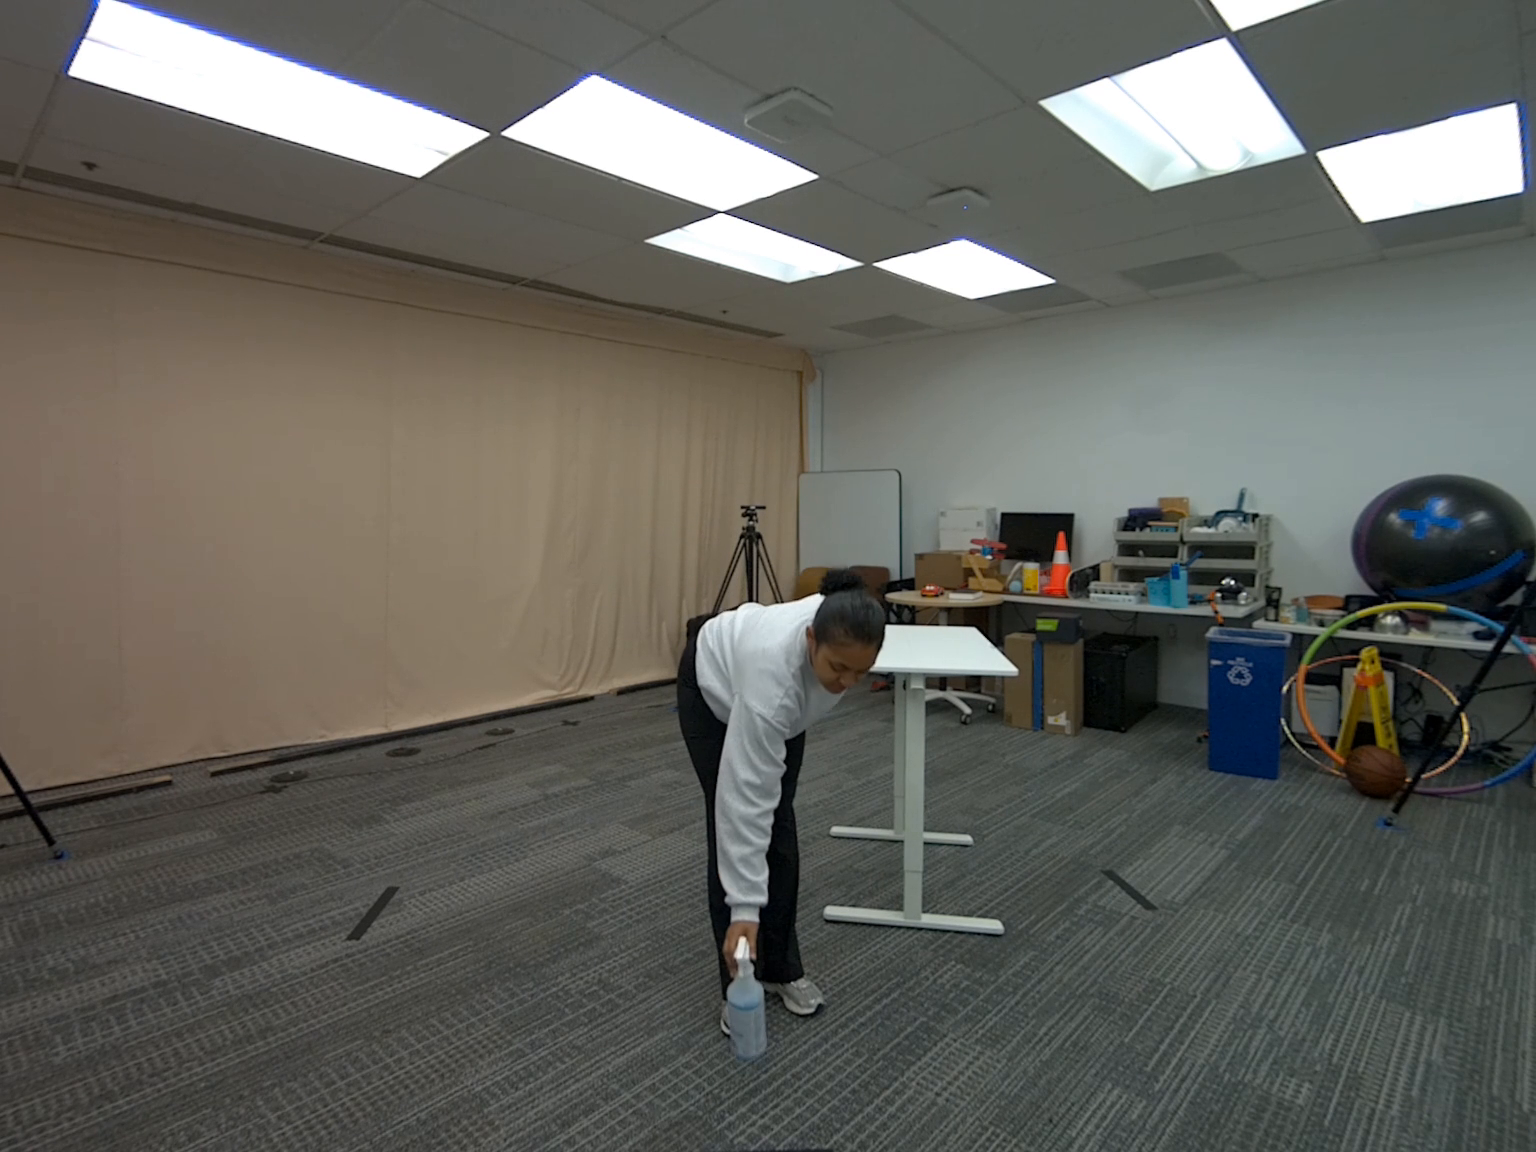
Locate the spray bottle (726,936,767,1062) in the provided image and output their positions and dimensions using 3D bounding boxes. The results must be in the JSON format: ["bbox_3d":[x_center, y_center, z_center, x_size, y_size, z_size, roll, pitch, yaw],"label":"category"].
[{"bbox_3d":[-0.050,0.966,1.968,0.089,0.294,0.088,6,17,29],"label":"spray bottle"}]
